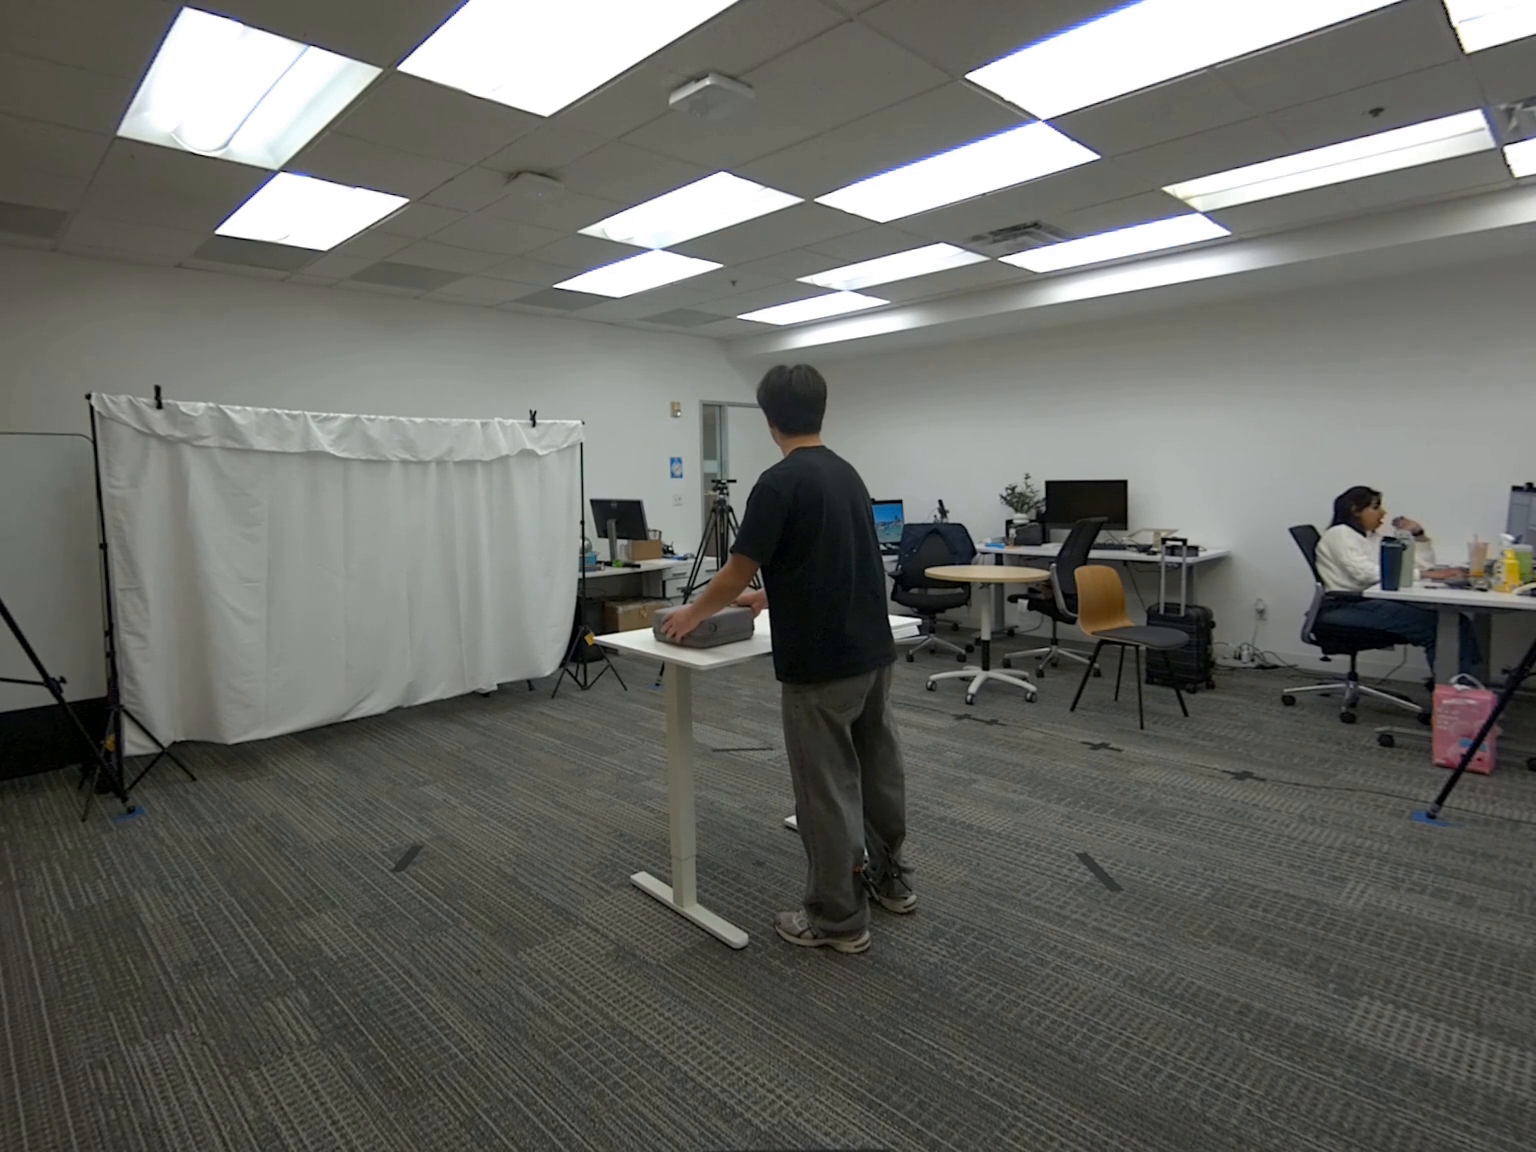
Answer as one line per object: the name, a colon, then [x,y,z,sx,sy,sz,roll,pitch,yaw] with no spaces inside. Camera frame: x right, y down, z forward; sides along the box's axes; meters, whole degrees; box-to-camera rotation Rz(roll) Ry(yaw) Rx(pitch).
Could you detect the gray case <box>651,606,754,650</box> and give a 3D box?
gray case: [-0.224,0.158,2.778,0.280,0.102,0.271,-7,9,-43]
